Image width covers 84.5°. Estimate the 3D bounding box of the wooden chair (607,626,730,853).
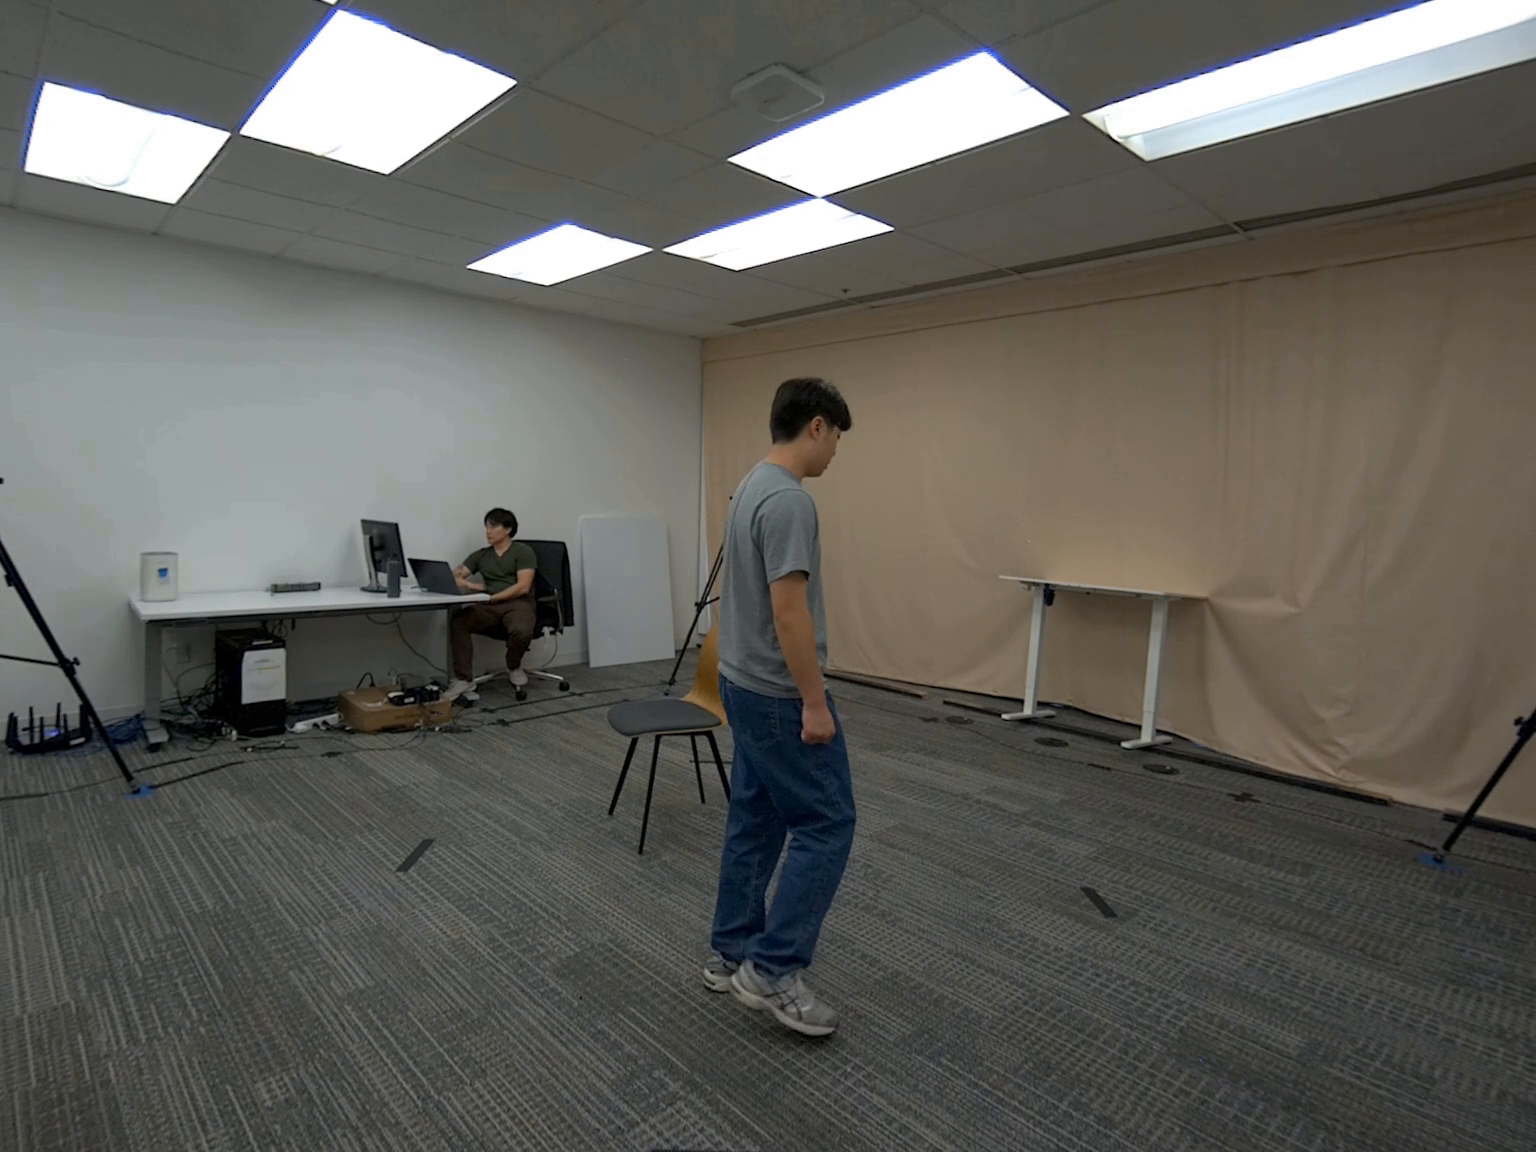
[{"bbox_3d":[-0.399,0.636,3.523,0.513,0.876,0.488,5,2,-25],"label":"wooden chair"}]
